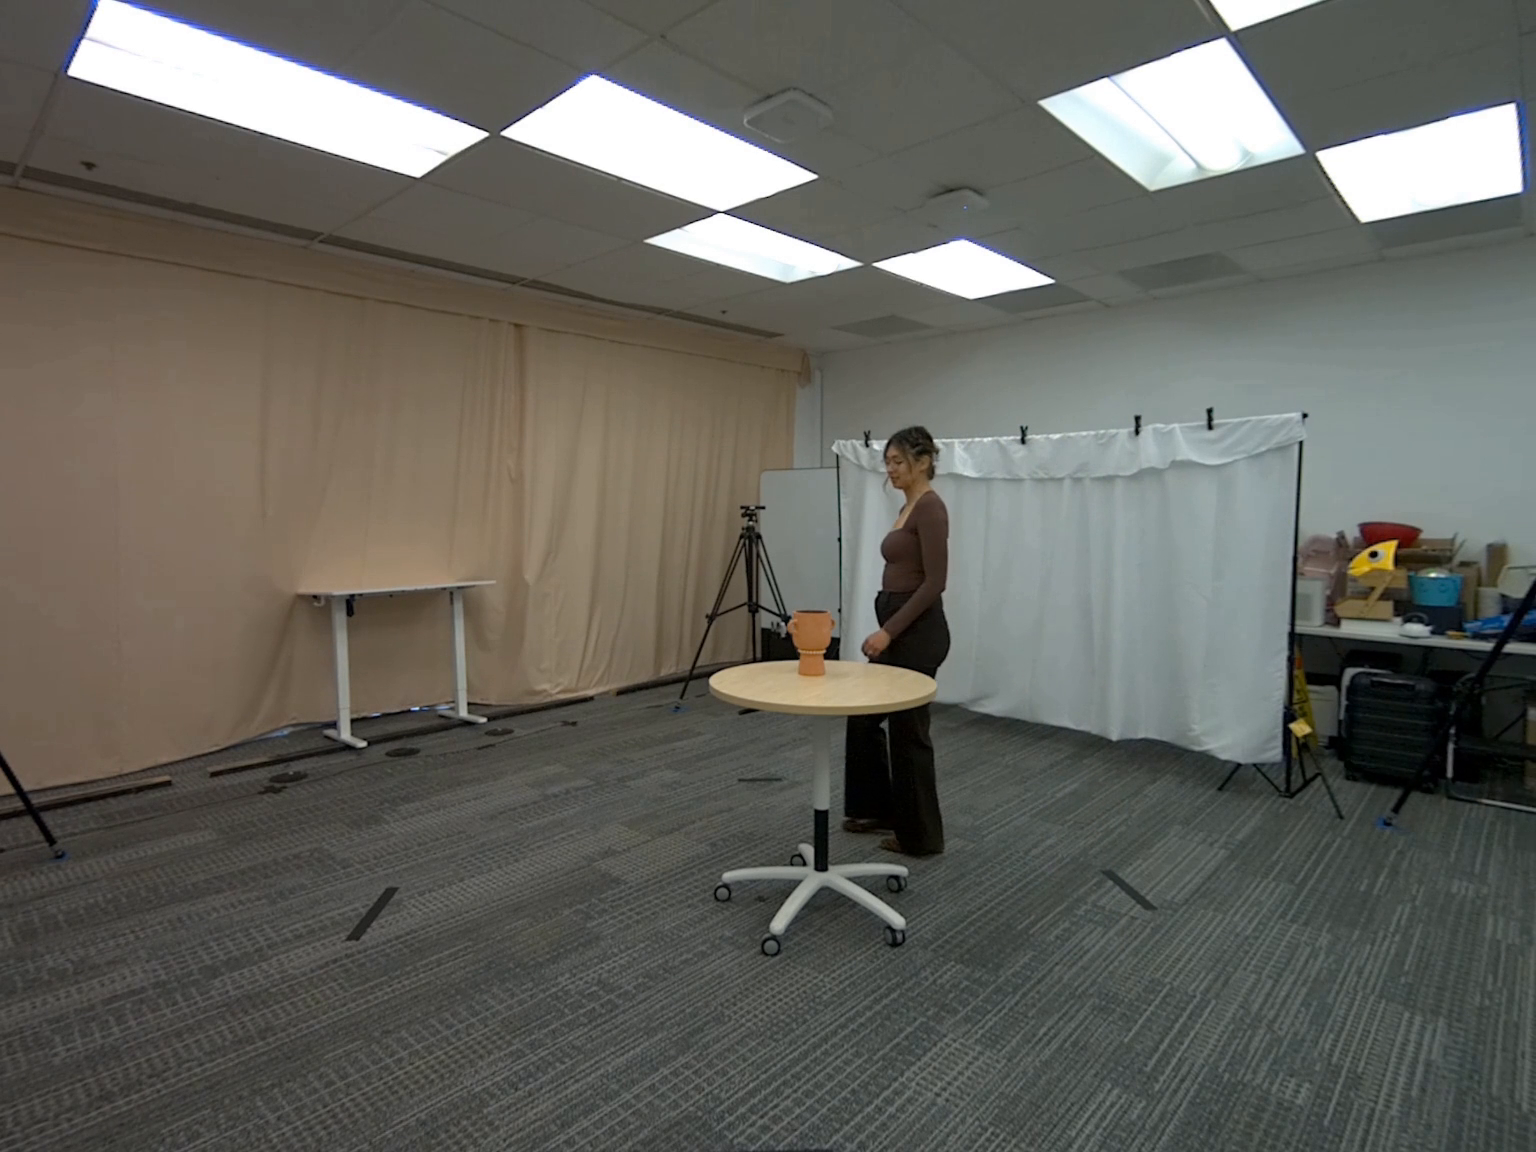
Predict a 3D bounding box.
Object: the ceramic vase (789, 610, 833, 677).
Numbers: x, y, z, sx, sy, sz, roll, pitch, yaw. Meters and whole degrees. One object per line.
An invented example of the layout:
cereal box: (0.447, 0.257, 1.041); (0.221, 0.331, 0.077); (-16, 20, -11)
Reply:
ceramic vase: (0.163, 0.239, 2.984); (0.161, 0.219, 0.133); (2, 1, 12)
